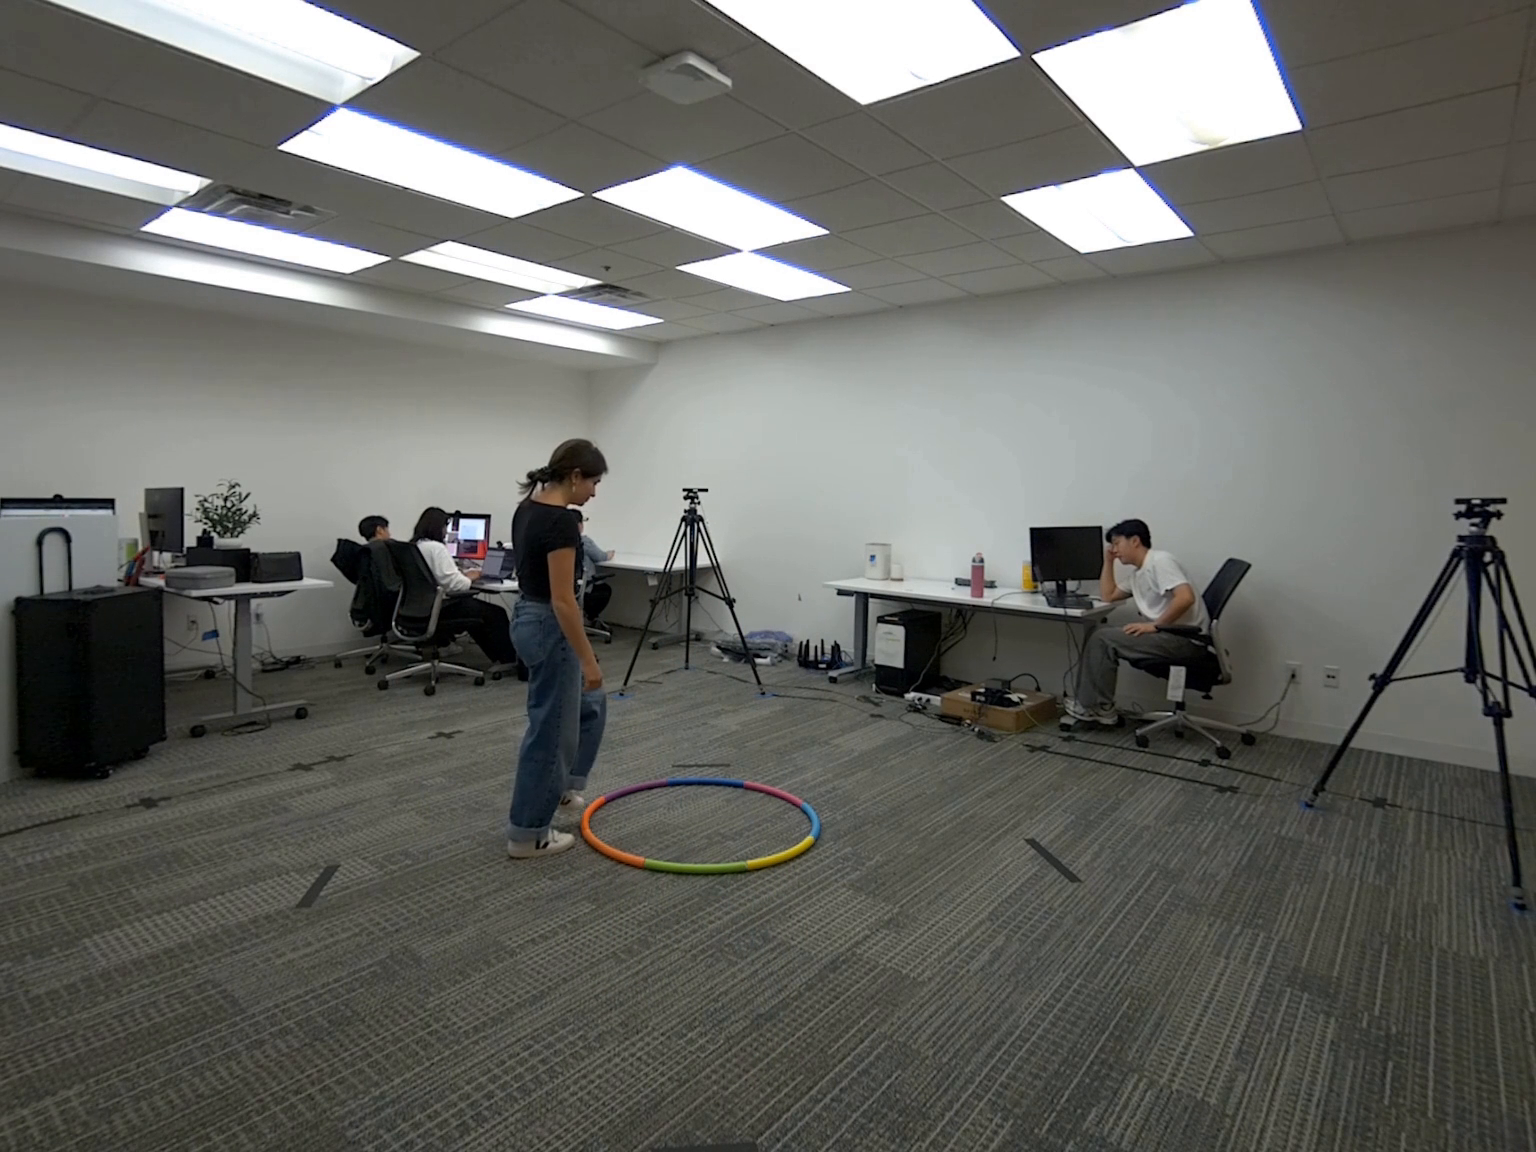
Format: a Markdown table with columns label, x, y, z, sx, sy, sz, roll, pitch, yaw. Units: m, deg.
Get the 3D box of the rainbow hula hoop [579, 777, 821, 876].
| label | x | y | z | sx | sy | sz | roll | pitch | yaw |
| --- | --- | --- | --- | --- | --- | --- | --- | --- | --- |
| rainbow hula hoop | -0.277 | 0.992 | 3.538 | 0.978 | 0.035 | 0.984 | 1 | 6 | -2 |
